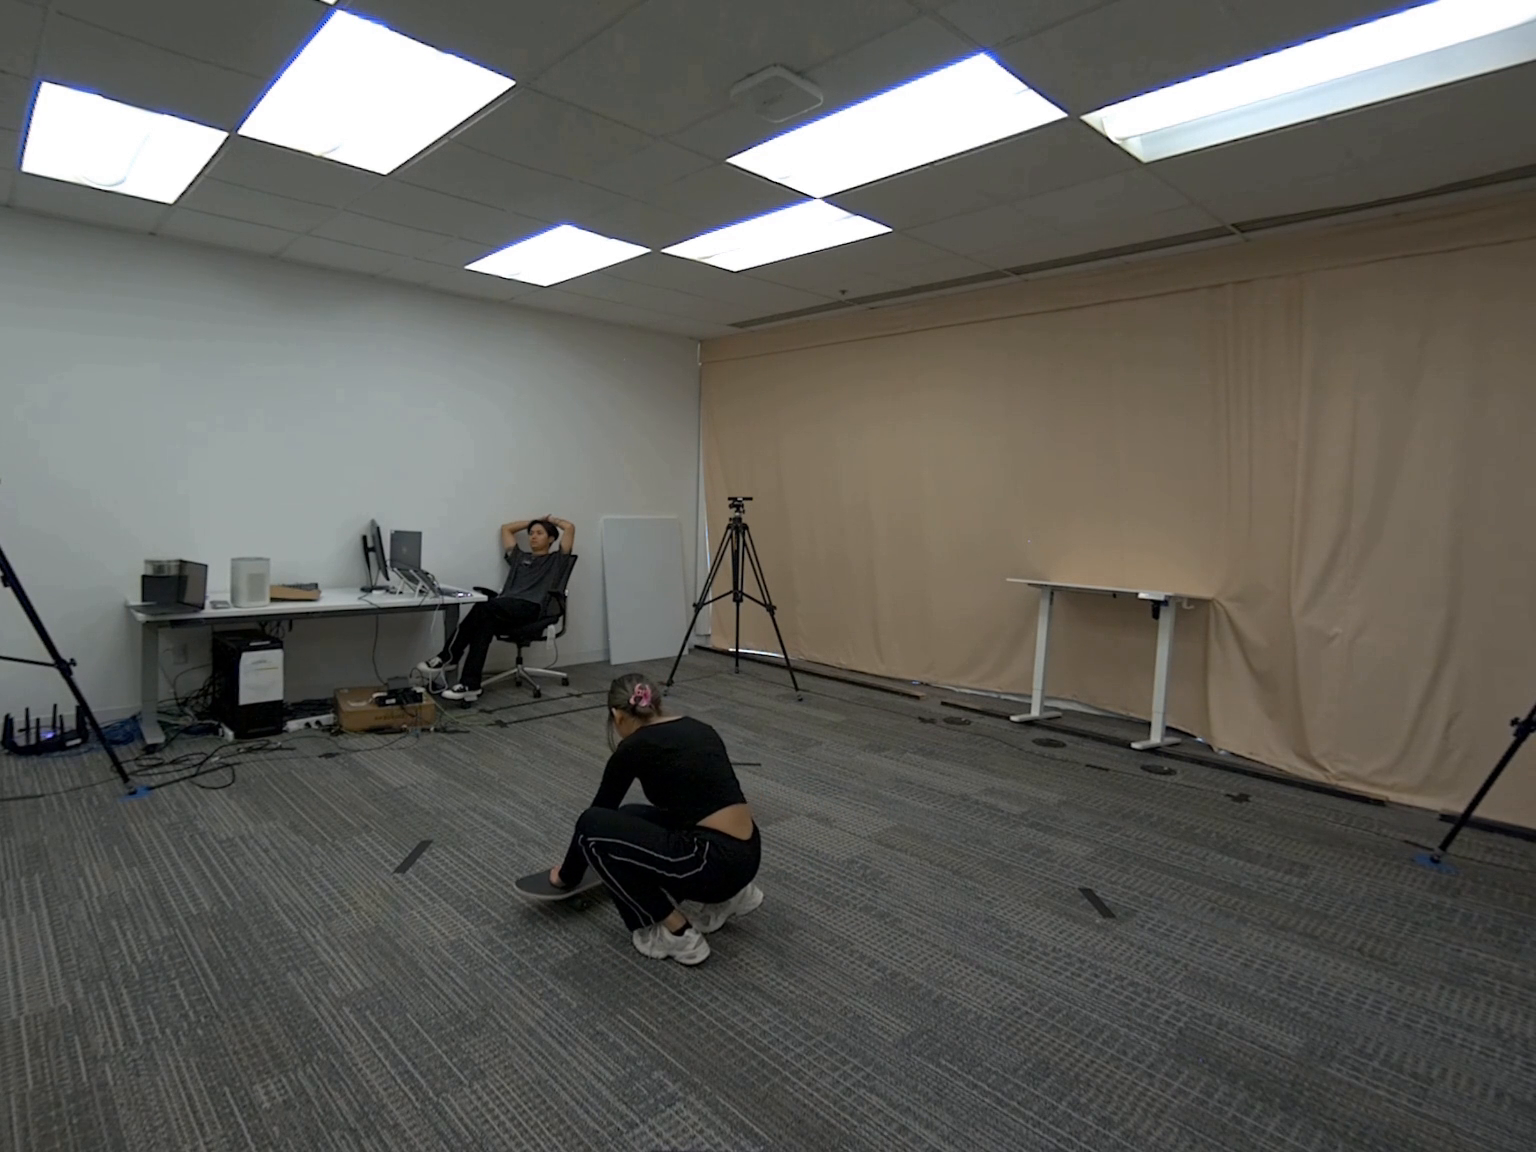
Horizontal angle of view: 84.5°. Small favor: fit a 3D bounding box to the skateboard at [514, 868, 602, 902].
[{"bbox_3d":[-0.552,1.051,3.016,0.198,0.110,0.768,5,6,42],"label":"skateboard"}]
